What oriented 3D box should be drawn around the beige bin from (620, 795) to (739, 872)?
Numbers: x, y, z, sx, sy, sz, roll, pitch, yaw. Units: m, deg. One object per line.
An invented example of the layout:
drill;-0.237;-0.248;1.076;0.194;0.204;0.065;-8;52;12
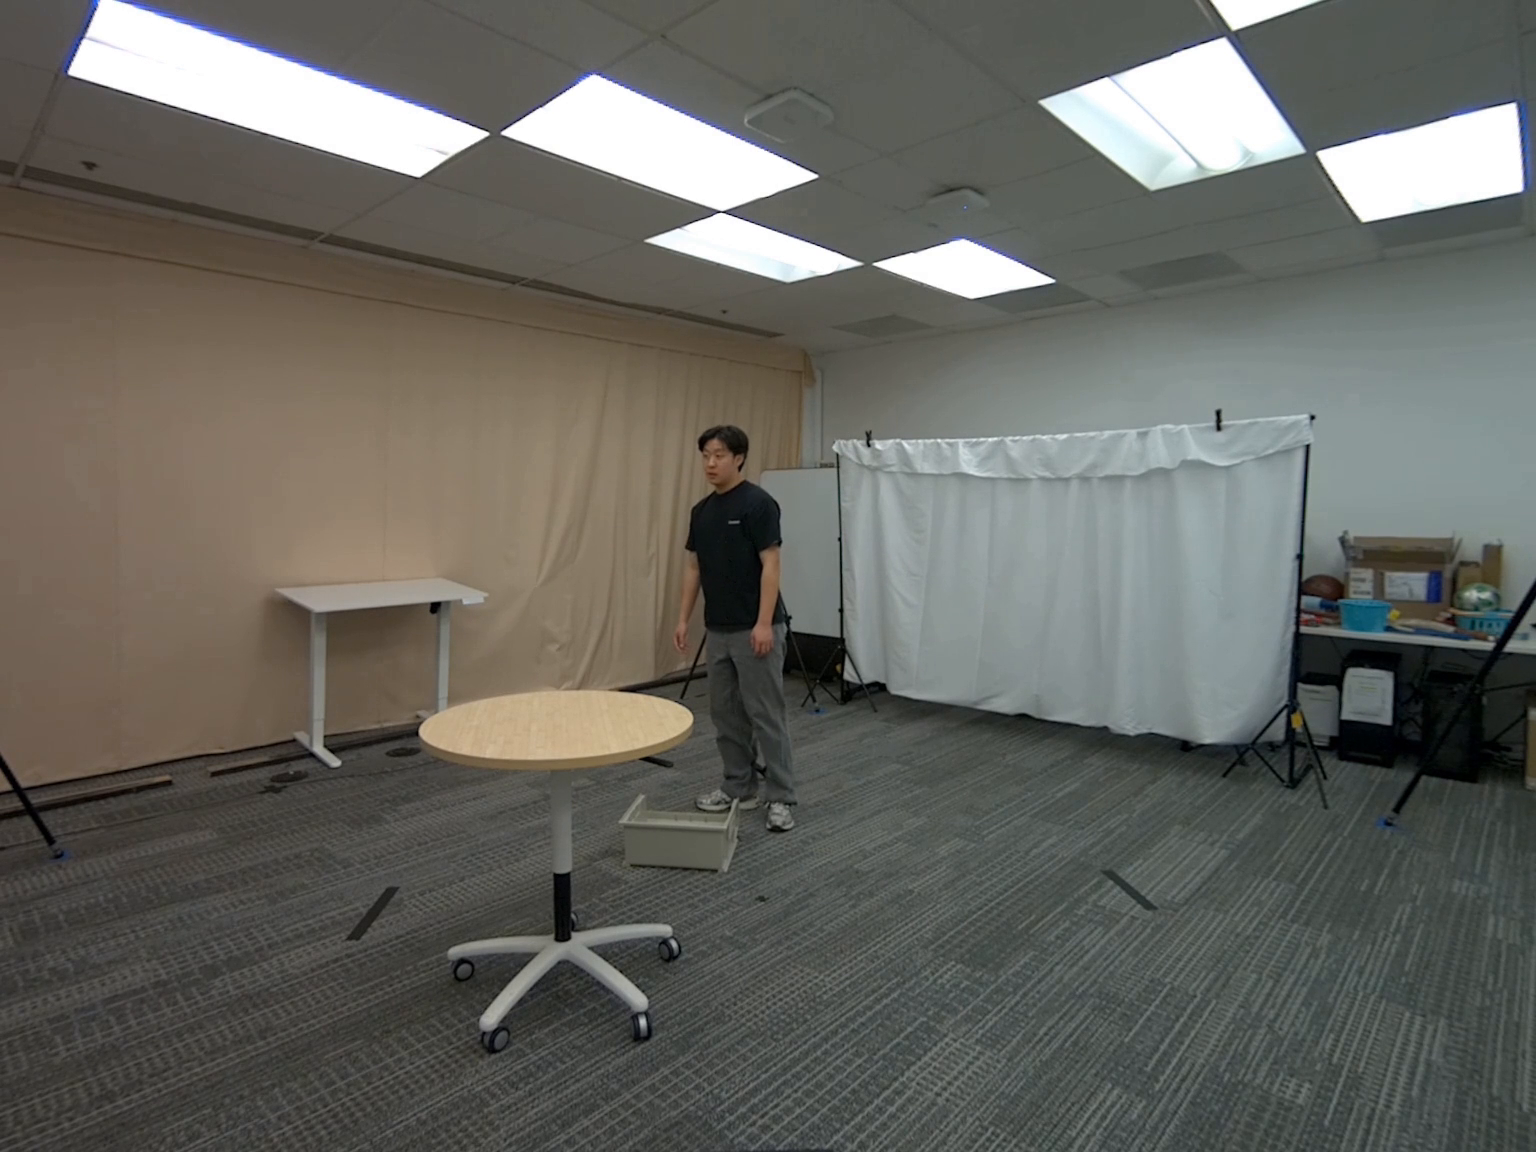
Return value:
beige bin;-0.346;1.024;3.396;0.426;0.188;0.375;1;6;8
